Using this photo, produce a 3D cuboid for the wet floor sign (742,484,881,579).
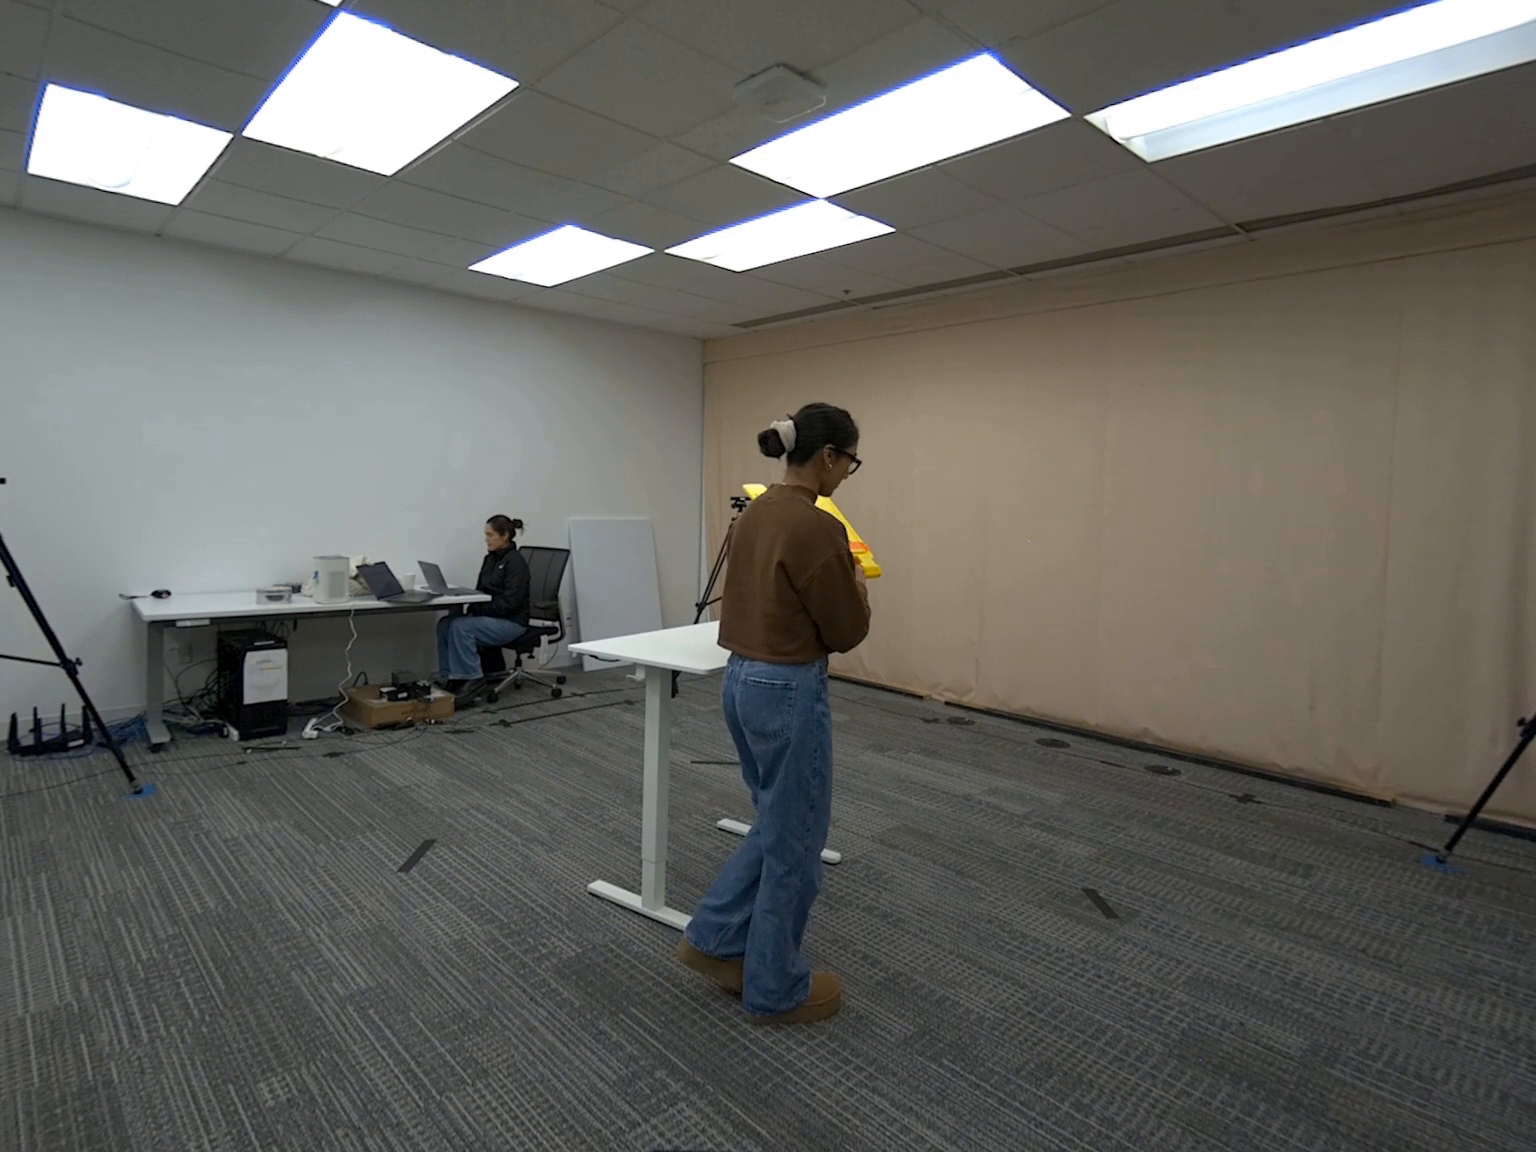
[{"bbox_3d":[0.144,-0.093,2.675,0.279,0.286,0.661,-7,17,-17],"label":"wet floor sign"}]
